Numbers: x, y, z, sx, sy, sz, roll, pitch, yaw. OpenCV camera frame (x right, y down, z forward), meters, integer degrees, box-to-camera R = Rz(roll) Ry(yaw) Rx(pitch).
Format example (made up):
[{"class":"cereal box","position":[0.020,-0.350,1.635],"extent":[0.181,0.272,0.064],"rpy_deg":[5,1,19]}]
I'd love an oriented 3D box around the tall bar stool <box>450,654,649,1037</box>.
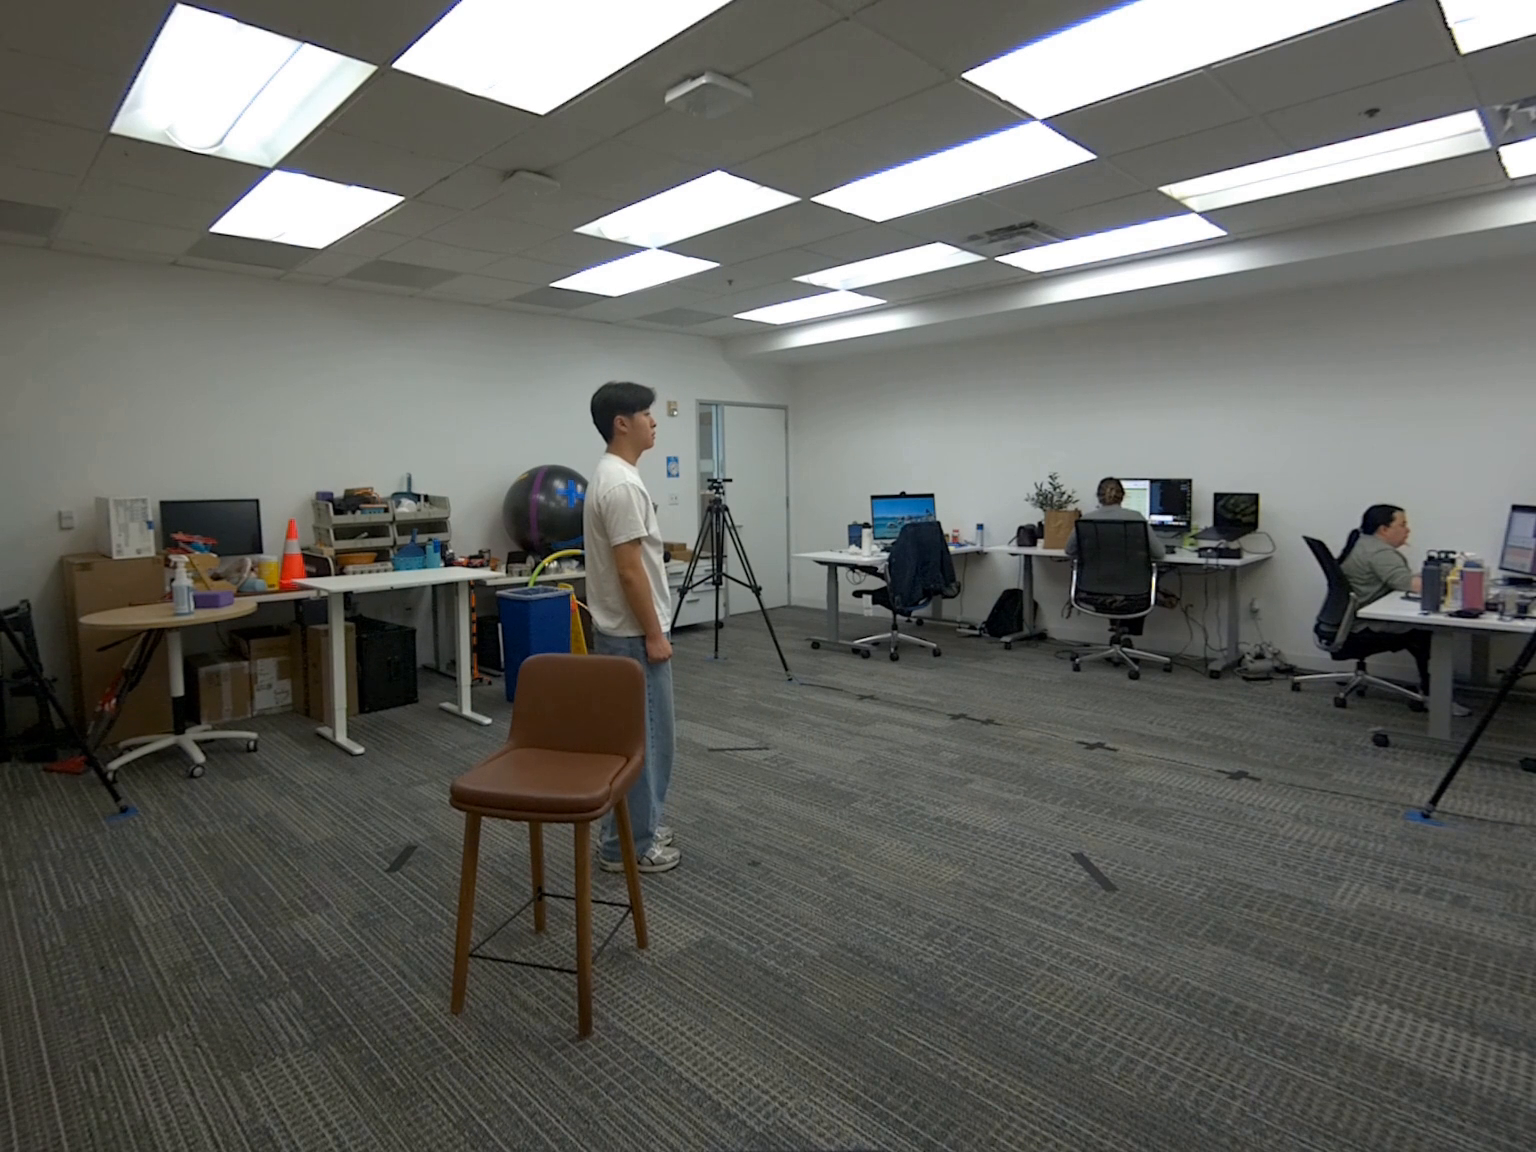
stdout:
[{"class":"tall bar stool","position":[-0.597,0.701,2.399],"extent":[0.464,0.888,0.461],"rpy_deg":[1,3,16]}]
